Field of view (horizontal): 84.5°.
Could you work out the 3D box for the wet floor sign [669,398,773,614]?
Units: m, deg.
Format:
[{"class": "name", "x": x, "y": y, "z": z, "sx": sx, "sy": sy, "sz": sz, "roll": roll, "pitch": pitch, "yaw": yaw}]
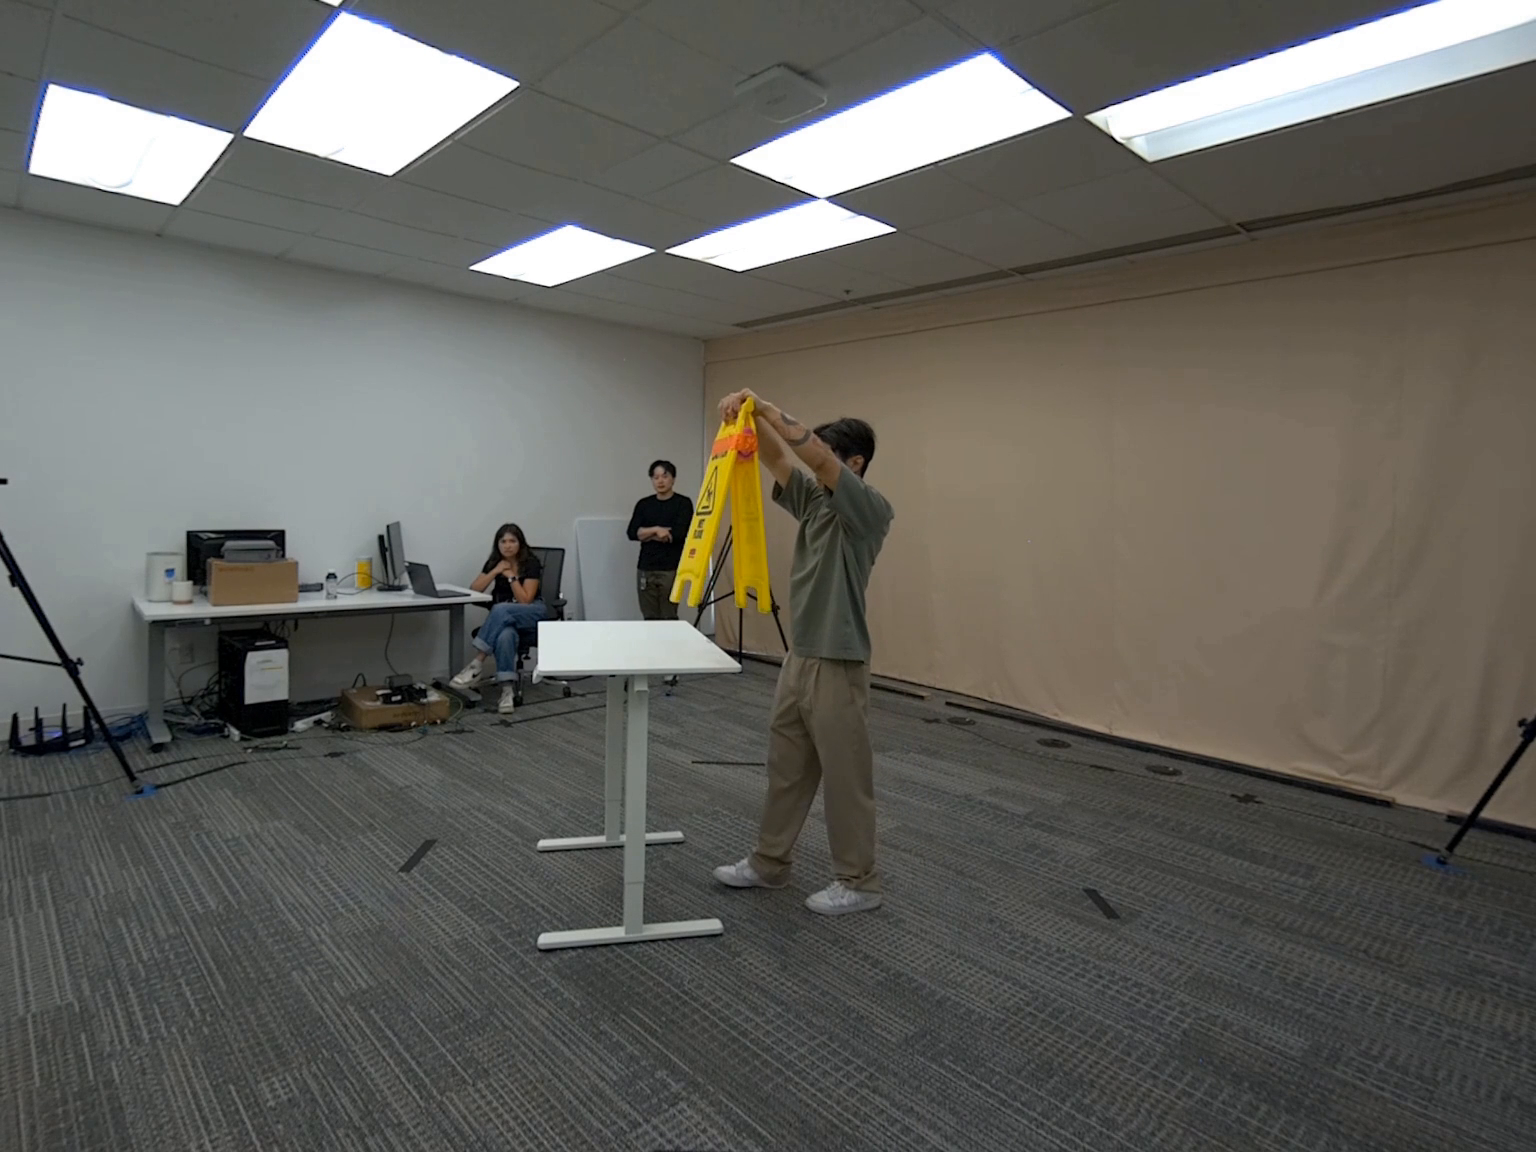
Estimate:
[{"class": "wet floor sign", "x": -0.136, "y": -0.226, "z": 2.640, "sx": 0.285, "sy": 0.647, "sz": 0.286, "roll": 6, "pitch": -2, "yaw": -21}]
